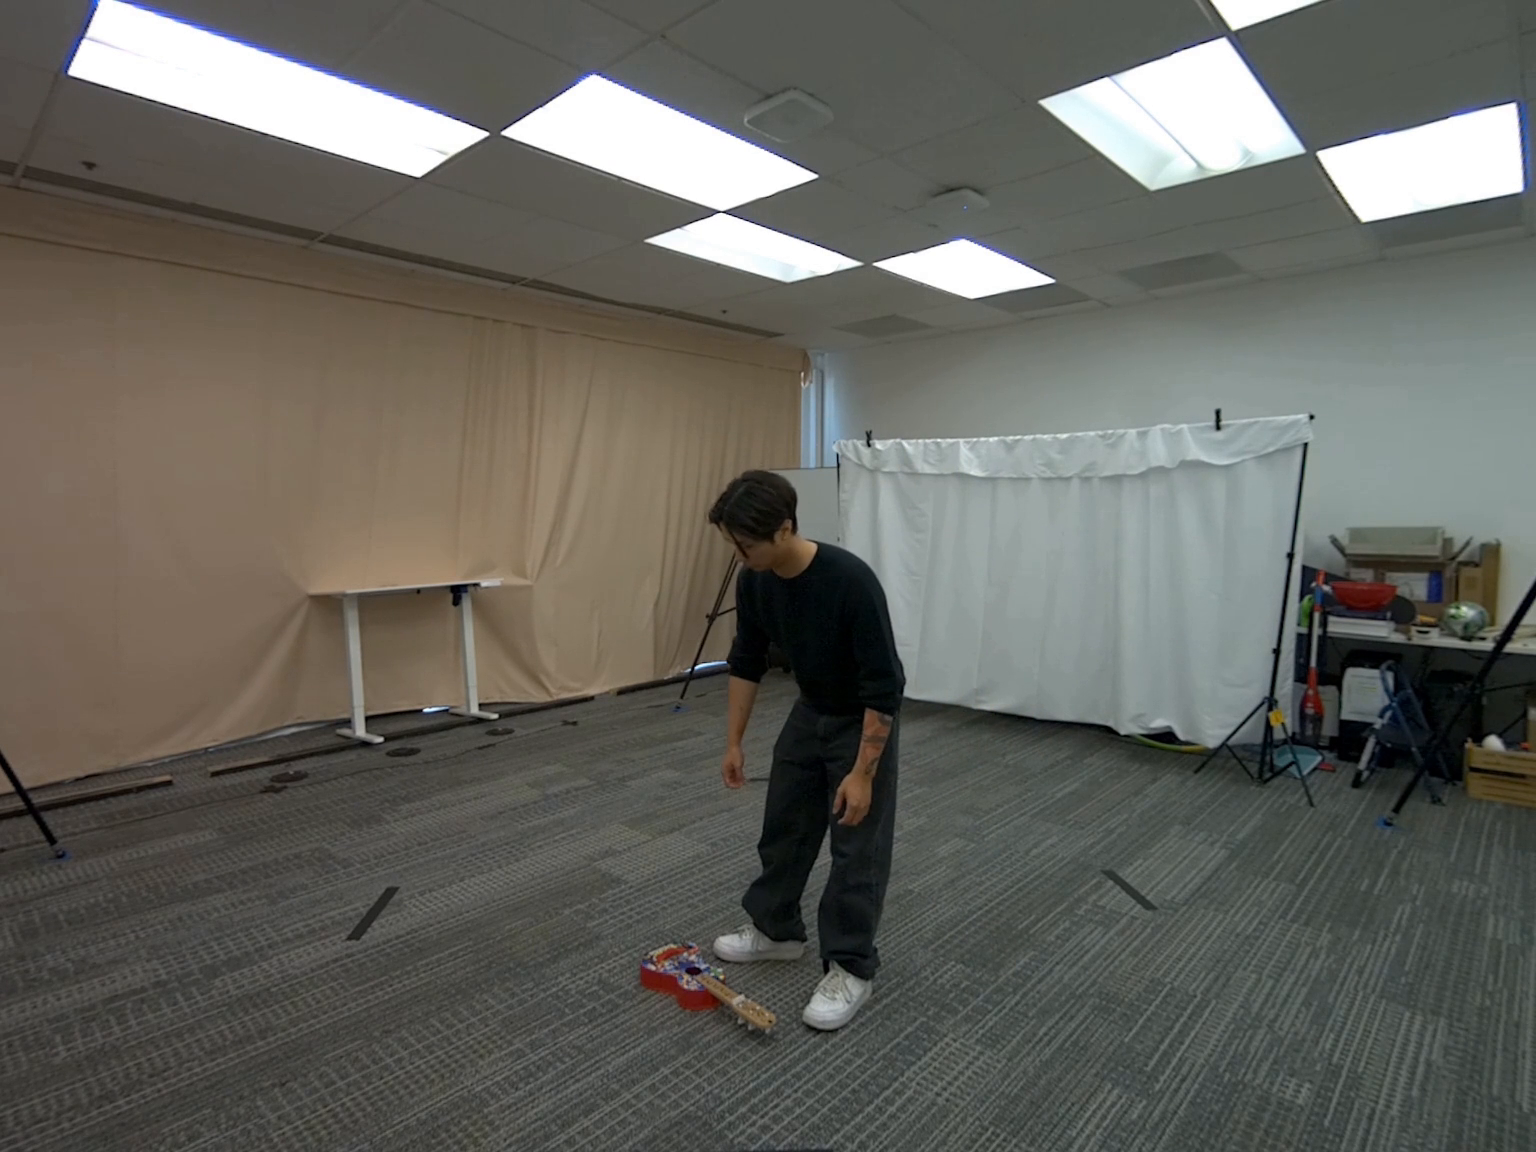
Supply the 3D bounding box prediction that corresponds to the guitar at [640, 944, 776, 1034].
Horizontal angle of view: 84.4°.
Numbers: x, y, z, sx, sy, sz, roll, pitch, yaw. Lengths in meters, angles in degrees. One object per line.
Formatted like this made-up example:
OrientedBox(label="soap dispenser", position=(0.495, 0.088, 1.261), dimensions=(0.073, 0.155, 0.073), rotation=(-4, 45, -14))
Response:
OrientedBox(label="guitar", position=(-0.184, 1.170, 2.340), dimensions=(0.187, 0.070, 0.513), rotation=(-3, 5, -33))
